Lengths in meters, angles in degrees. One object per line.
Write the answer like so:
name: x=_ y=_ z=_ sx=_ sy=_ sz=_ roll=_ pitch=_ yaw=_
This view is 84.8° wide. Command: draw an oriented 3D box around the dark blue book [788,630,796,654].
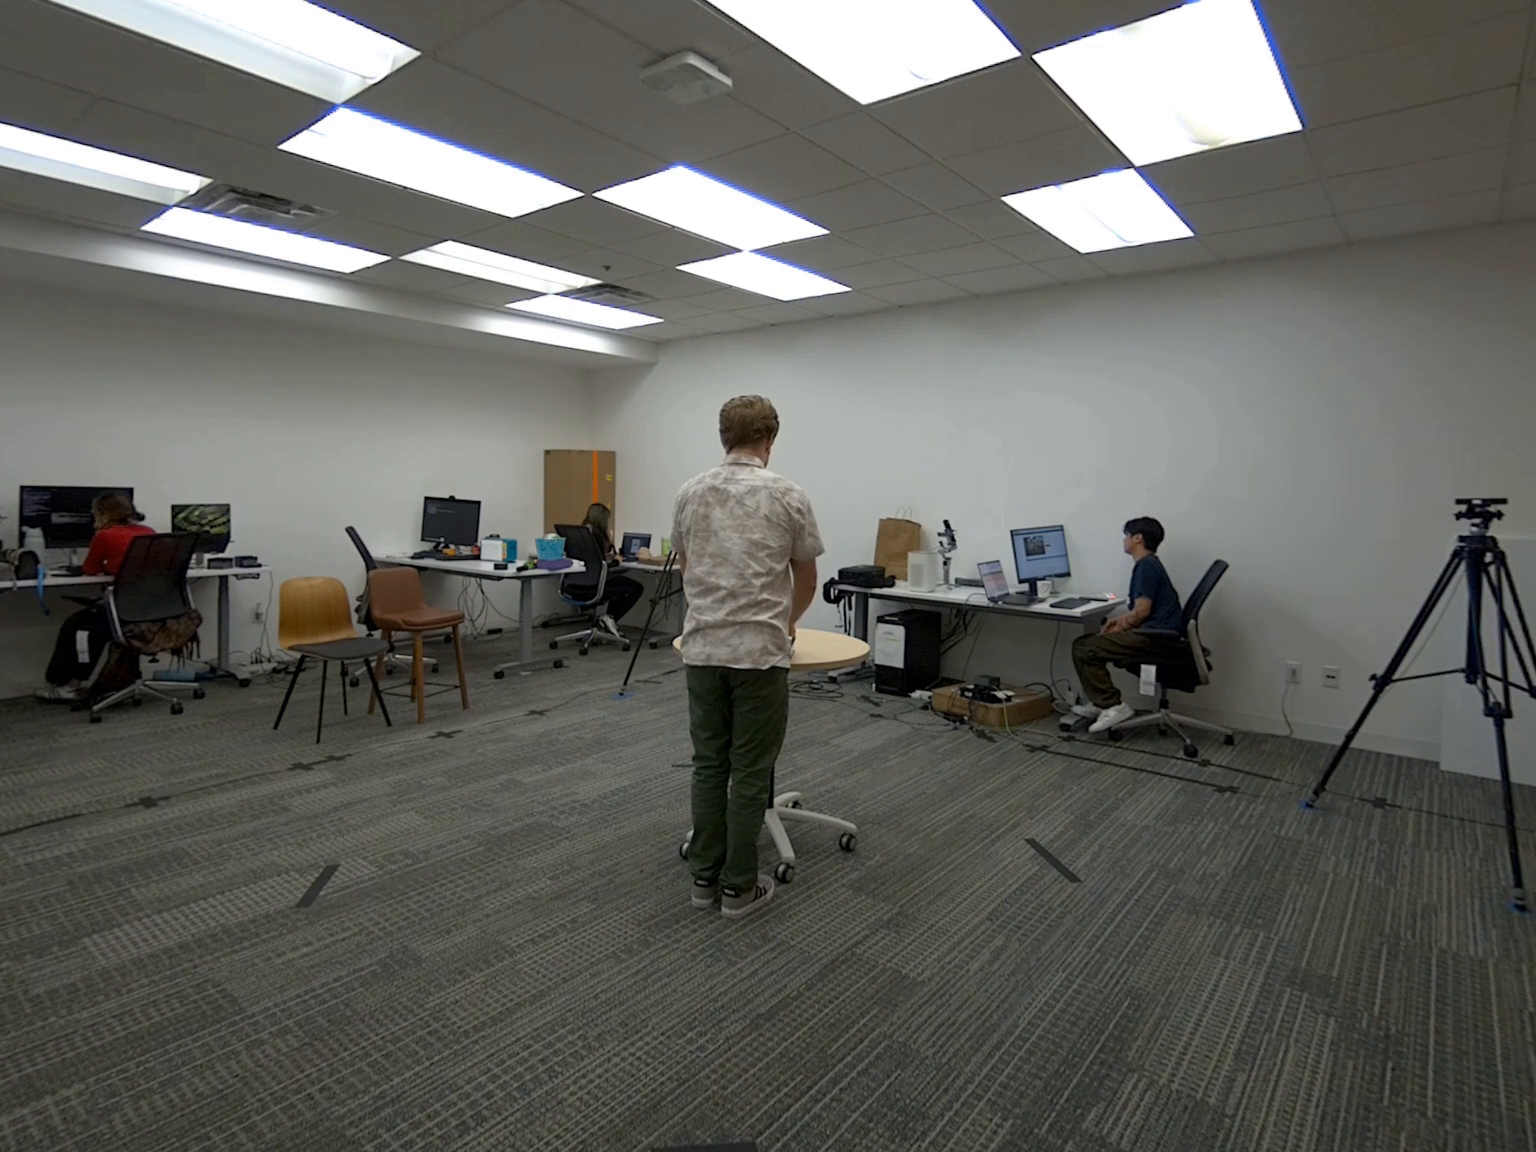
dark blue book: x=-0.035 y=0.265 z=3.120 sx=0.247 sy=0.045 sz=0.162 roll=1 pitch=6 yaw=8
